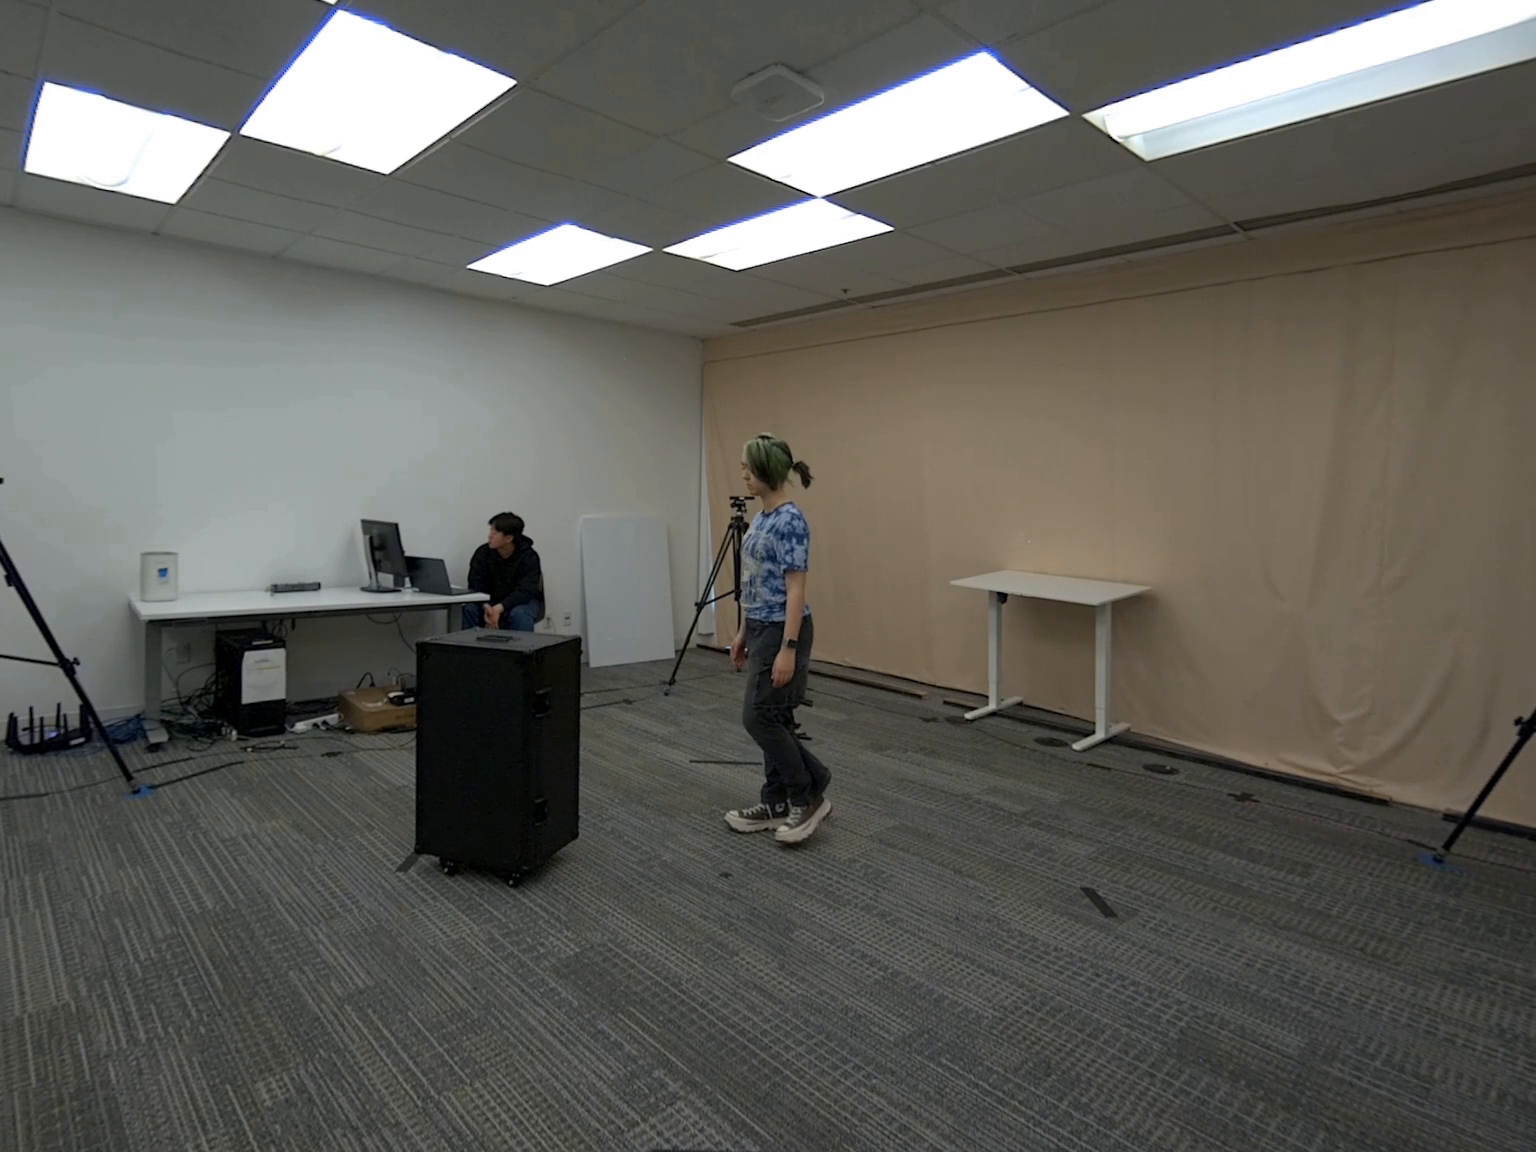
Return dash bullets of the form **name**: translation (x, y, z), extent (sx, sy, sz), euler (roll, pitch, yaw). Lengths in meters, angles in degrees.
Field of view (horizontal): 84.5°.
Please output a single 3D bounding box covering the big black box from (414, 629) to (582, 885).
- **big black box**: translation (-1.009, 0.655, 3.147), extent (0.529, 0.860, 0.391), euler (2, 3, 19)
